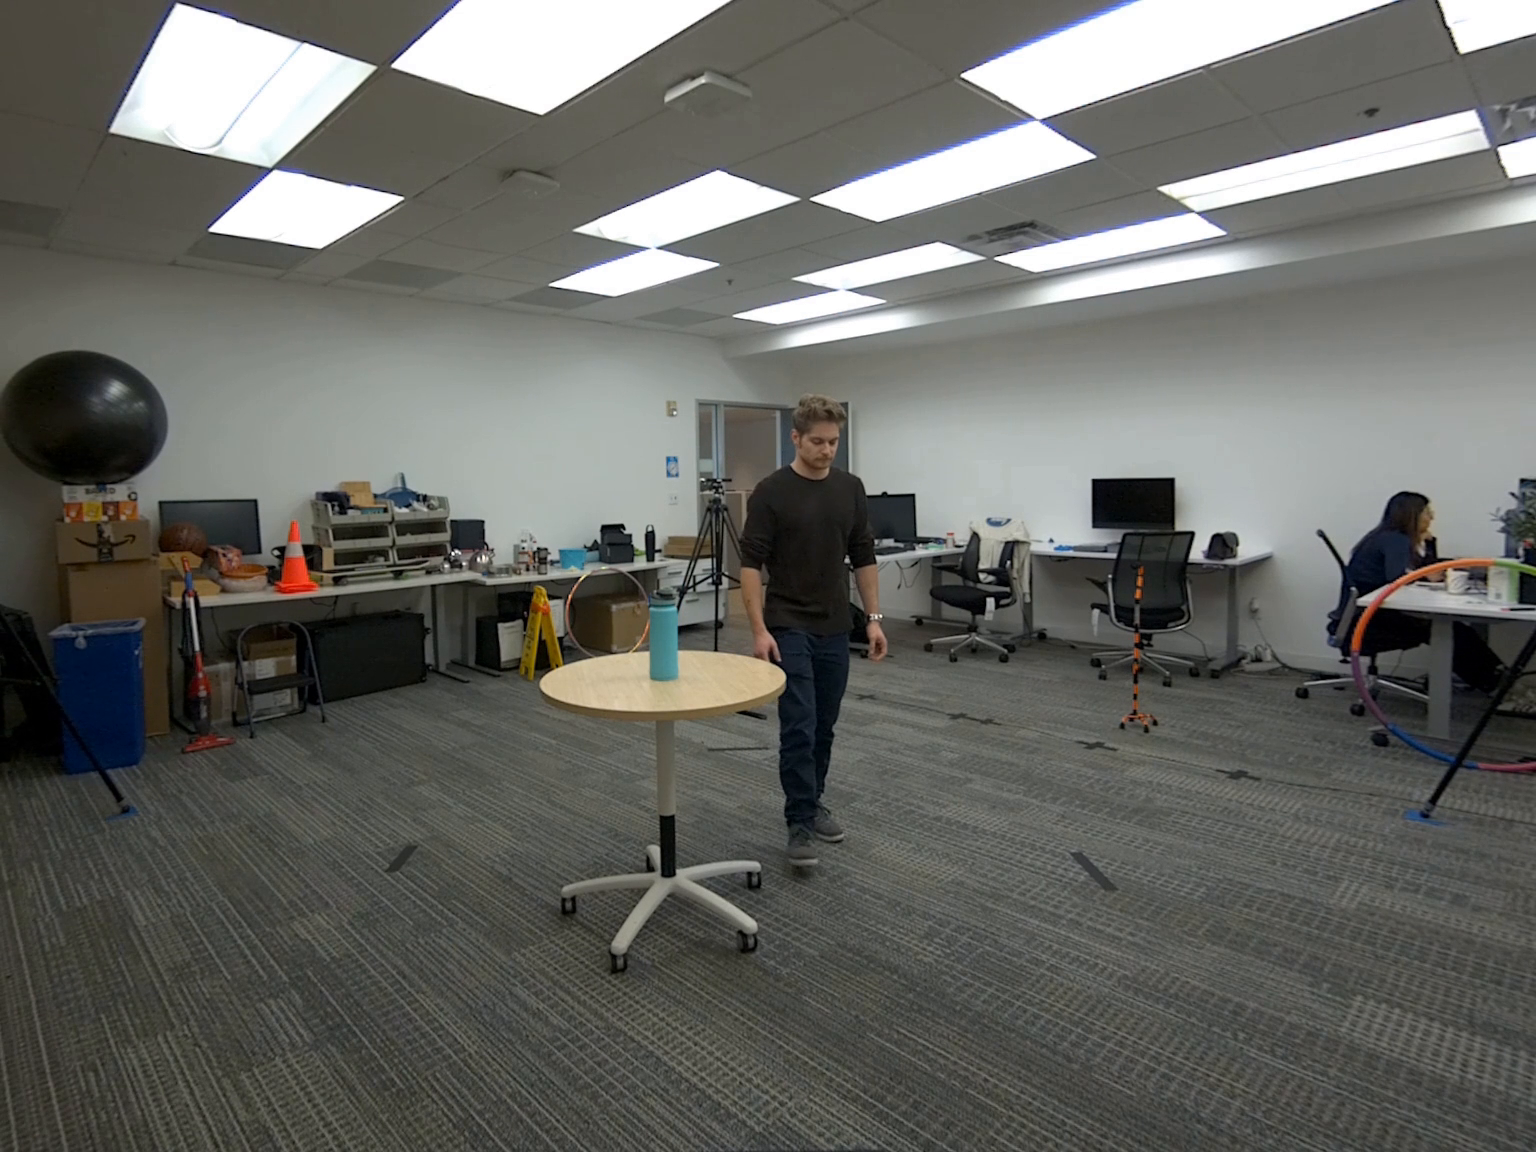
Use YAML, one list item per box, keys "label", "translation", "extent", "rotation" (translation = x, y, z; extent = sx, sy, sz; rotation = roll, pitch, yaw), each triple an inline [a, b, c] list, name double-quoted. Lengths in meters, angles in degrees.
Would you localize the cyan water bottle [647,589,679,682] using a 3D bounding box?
- label: "cyan water bottle"
  translation: [-0.326, 0.181, 2.657]
  extent: [0.092, 0.282, 0.093]
  rotation: [-2, 4, -1]
